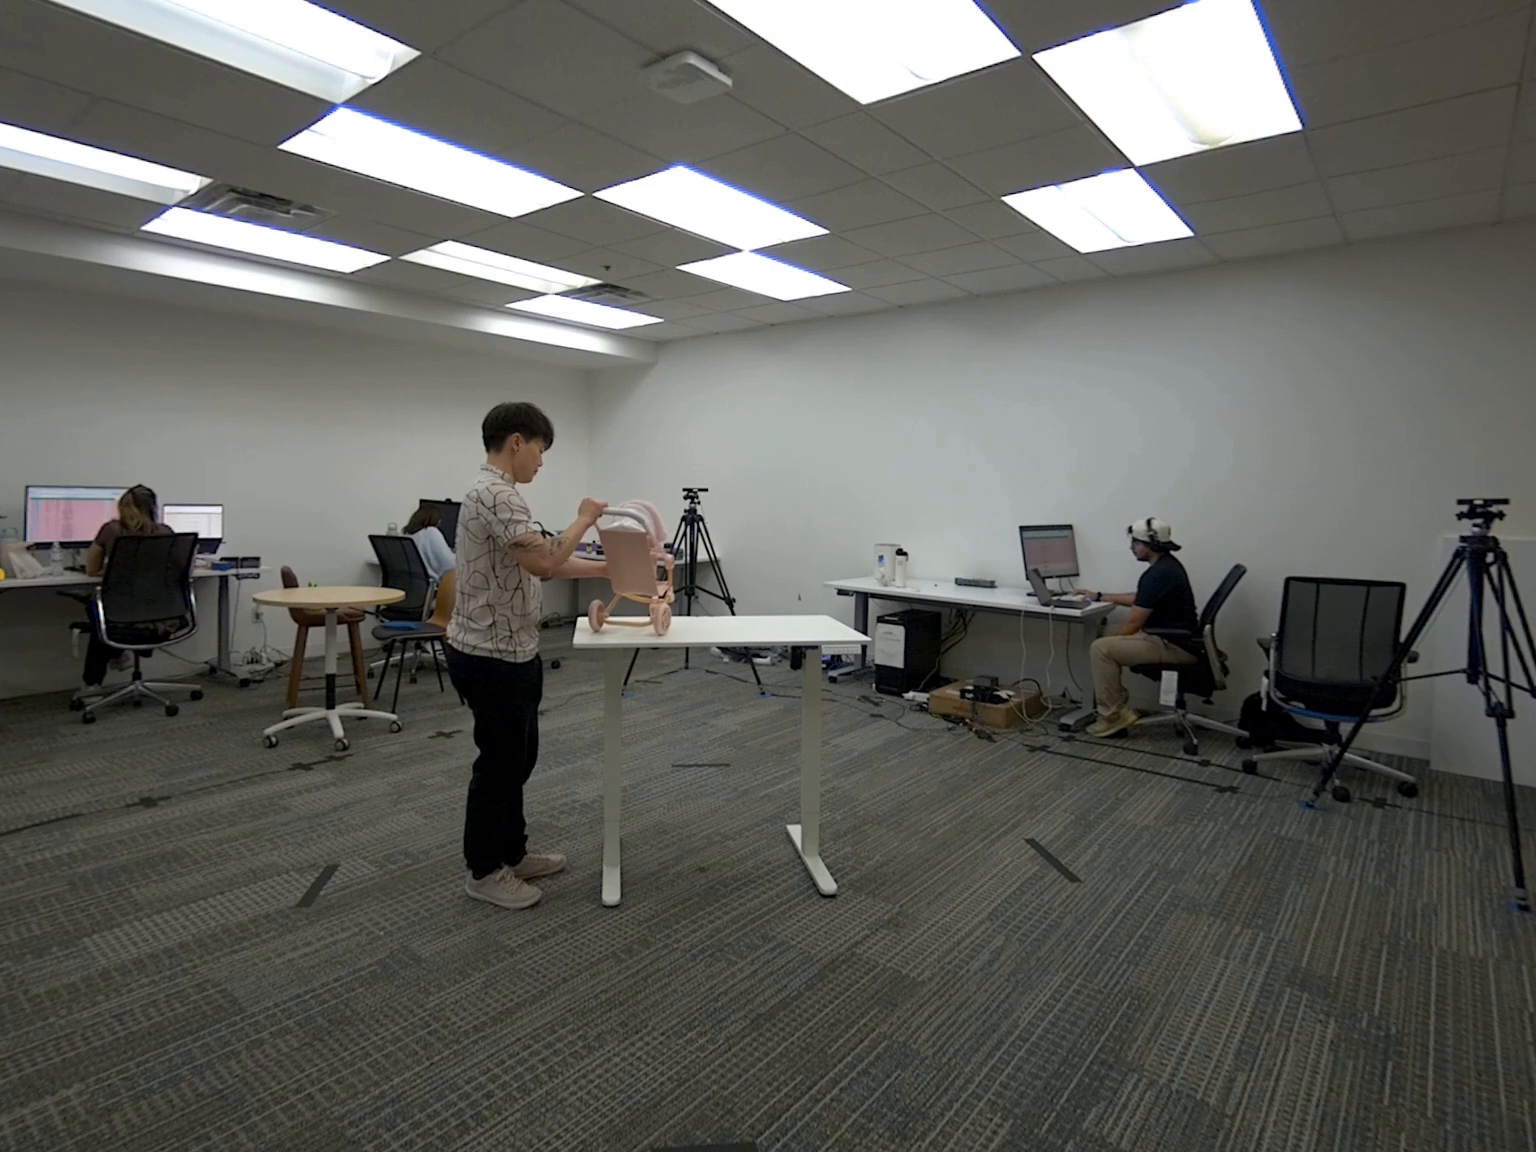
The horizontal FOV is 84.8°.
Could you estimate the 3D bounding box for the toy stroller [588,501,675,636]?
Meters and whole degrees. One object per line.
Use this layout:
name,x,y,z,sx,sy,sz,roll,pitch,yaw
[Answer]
toy stroller,-0.477,-0.032,3.018,0.288,0.526,0.339,3,18,20
